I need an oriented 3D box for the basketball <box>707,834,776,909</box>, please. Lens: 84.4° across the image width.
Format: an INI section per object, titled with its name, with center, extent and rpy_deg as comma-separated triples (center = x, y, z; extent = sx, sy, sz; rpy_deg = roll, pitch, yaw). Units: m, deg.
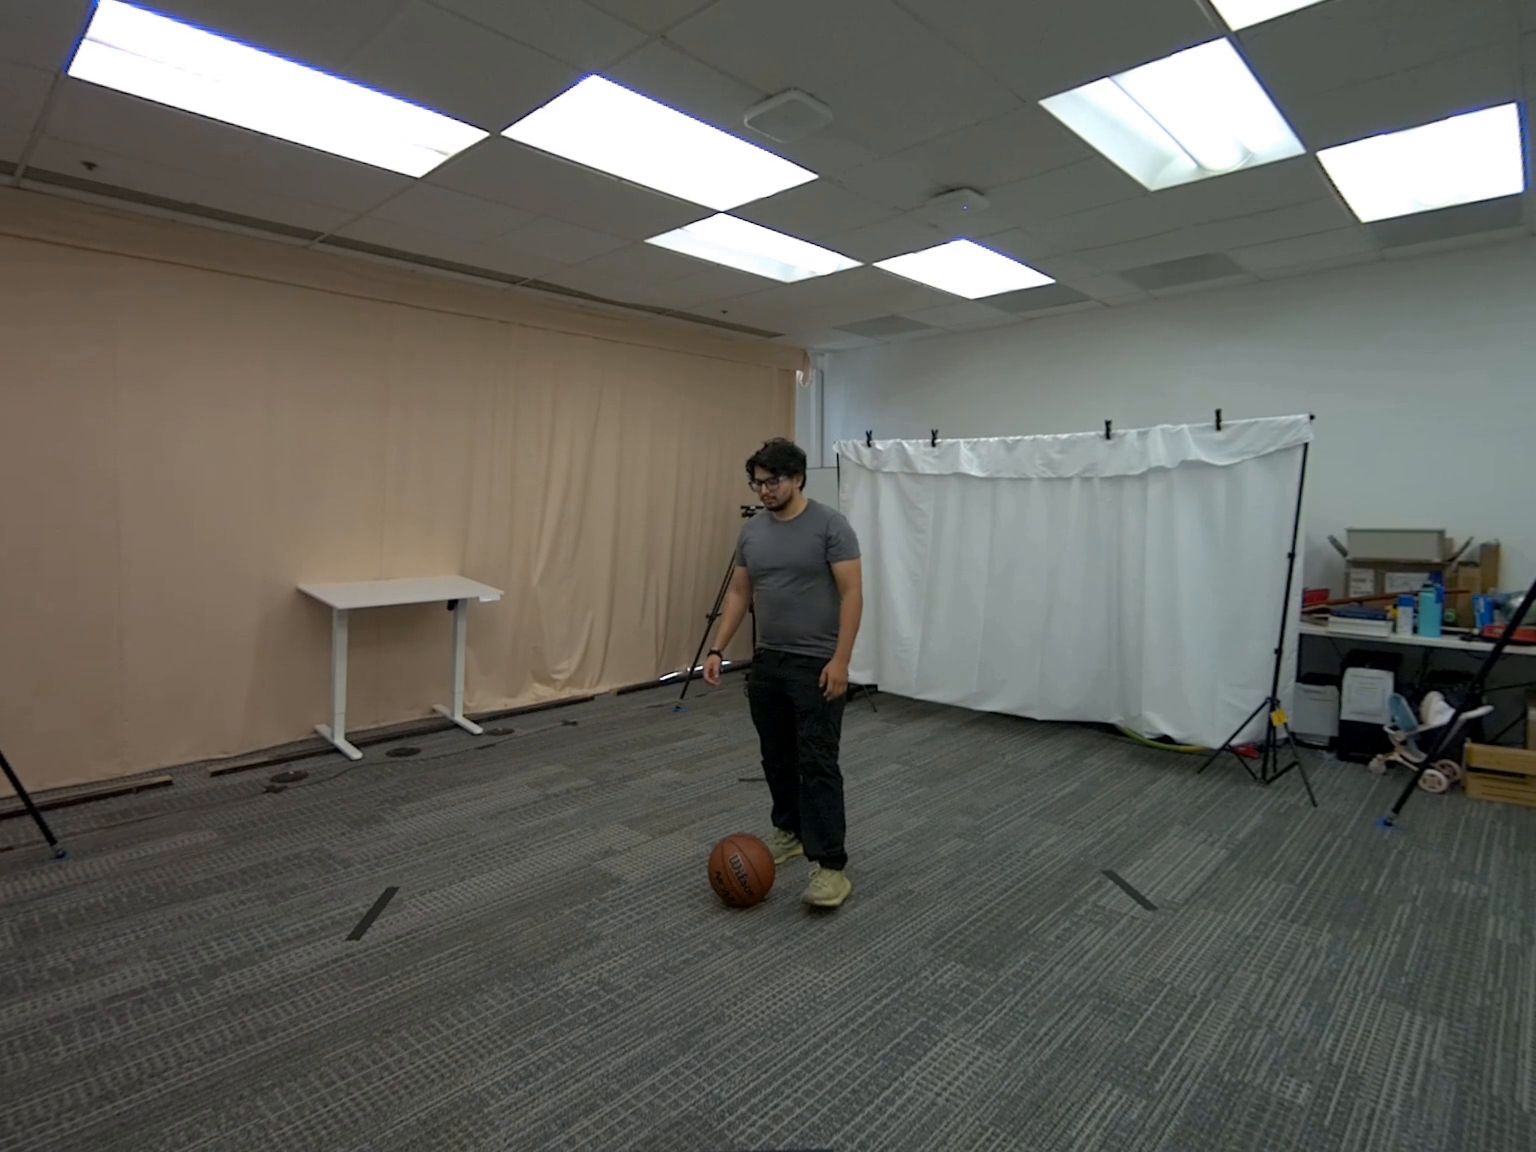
[basketball]
center = -0.087, 1.024, 2.952
extent = 0.236, 0.235, 0.237
rpy_deg = 0, 4, -2
